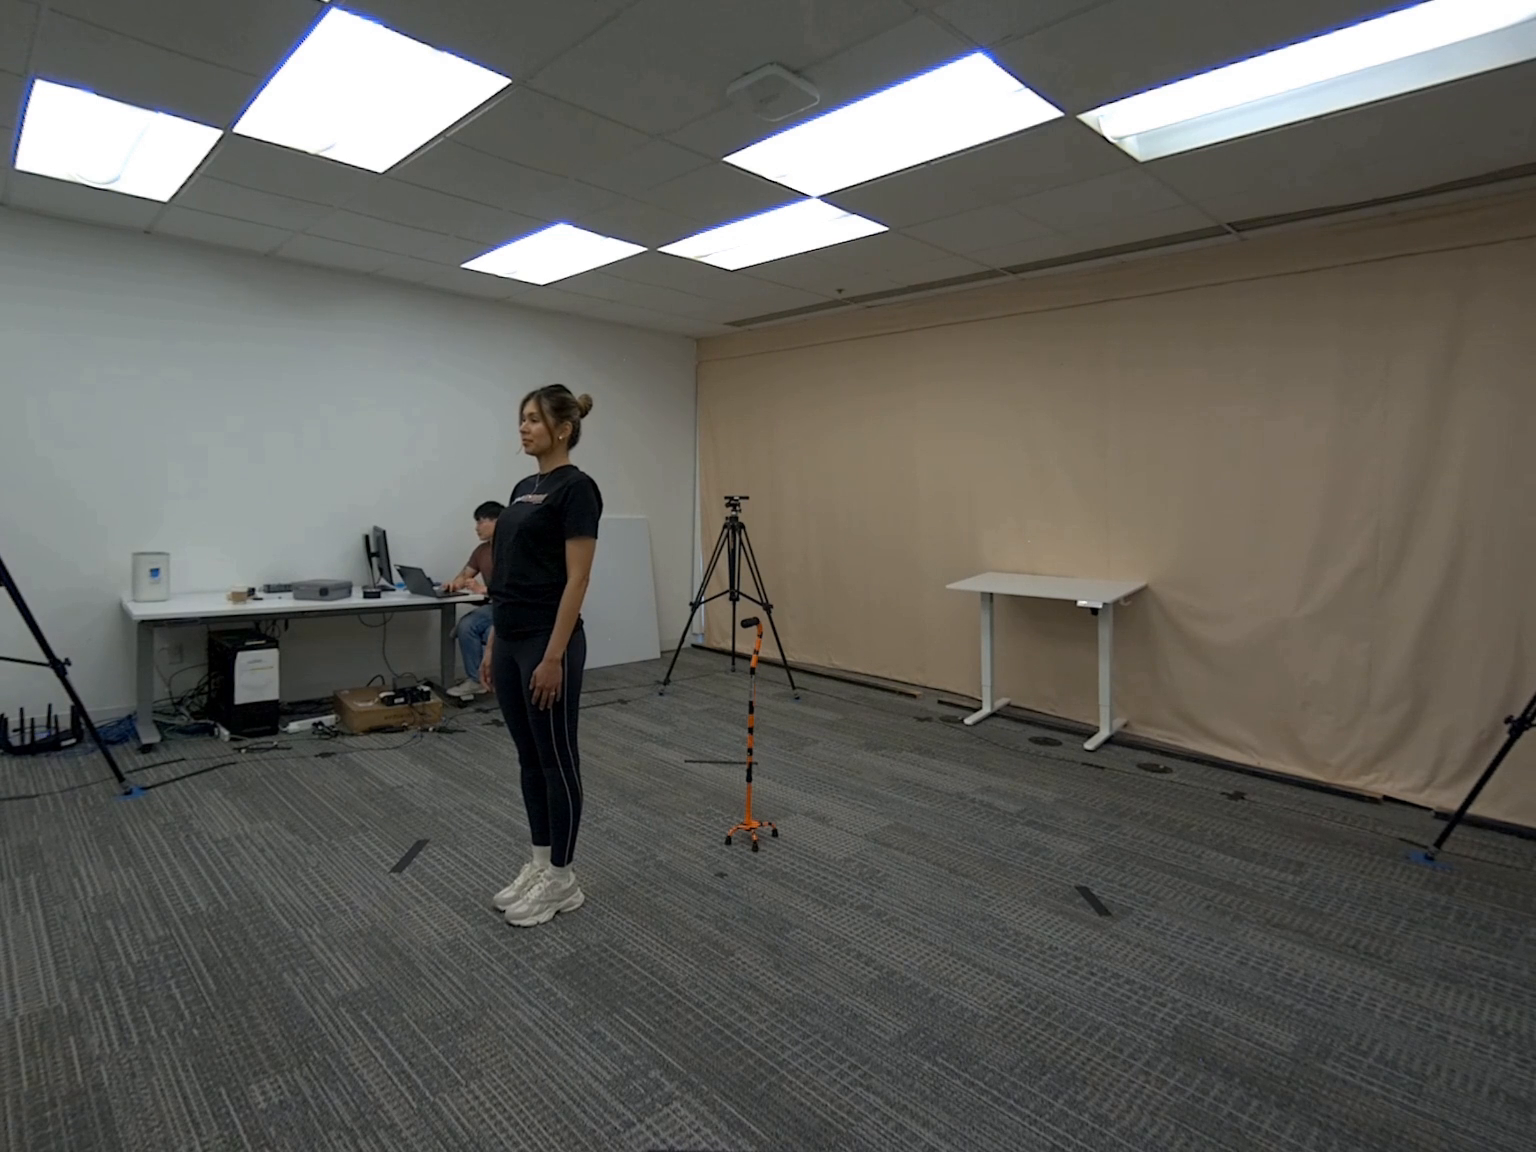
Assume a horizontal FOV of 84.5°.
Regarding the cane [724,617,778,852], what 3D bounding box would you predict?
[{"bbox_3d":[-0.060,0.622,3.410,0.154,0.906,0.203,3,3,24],"label":"cane"}]
